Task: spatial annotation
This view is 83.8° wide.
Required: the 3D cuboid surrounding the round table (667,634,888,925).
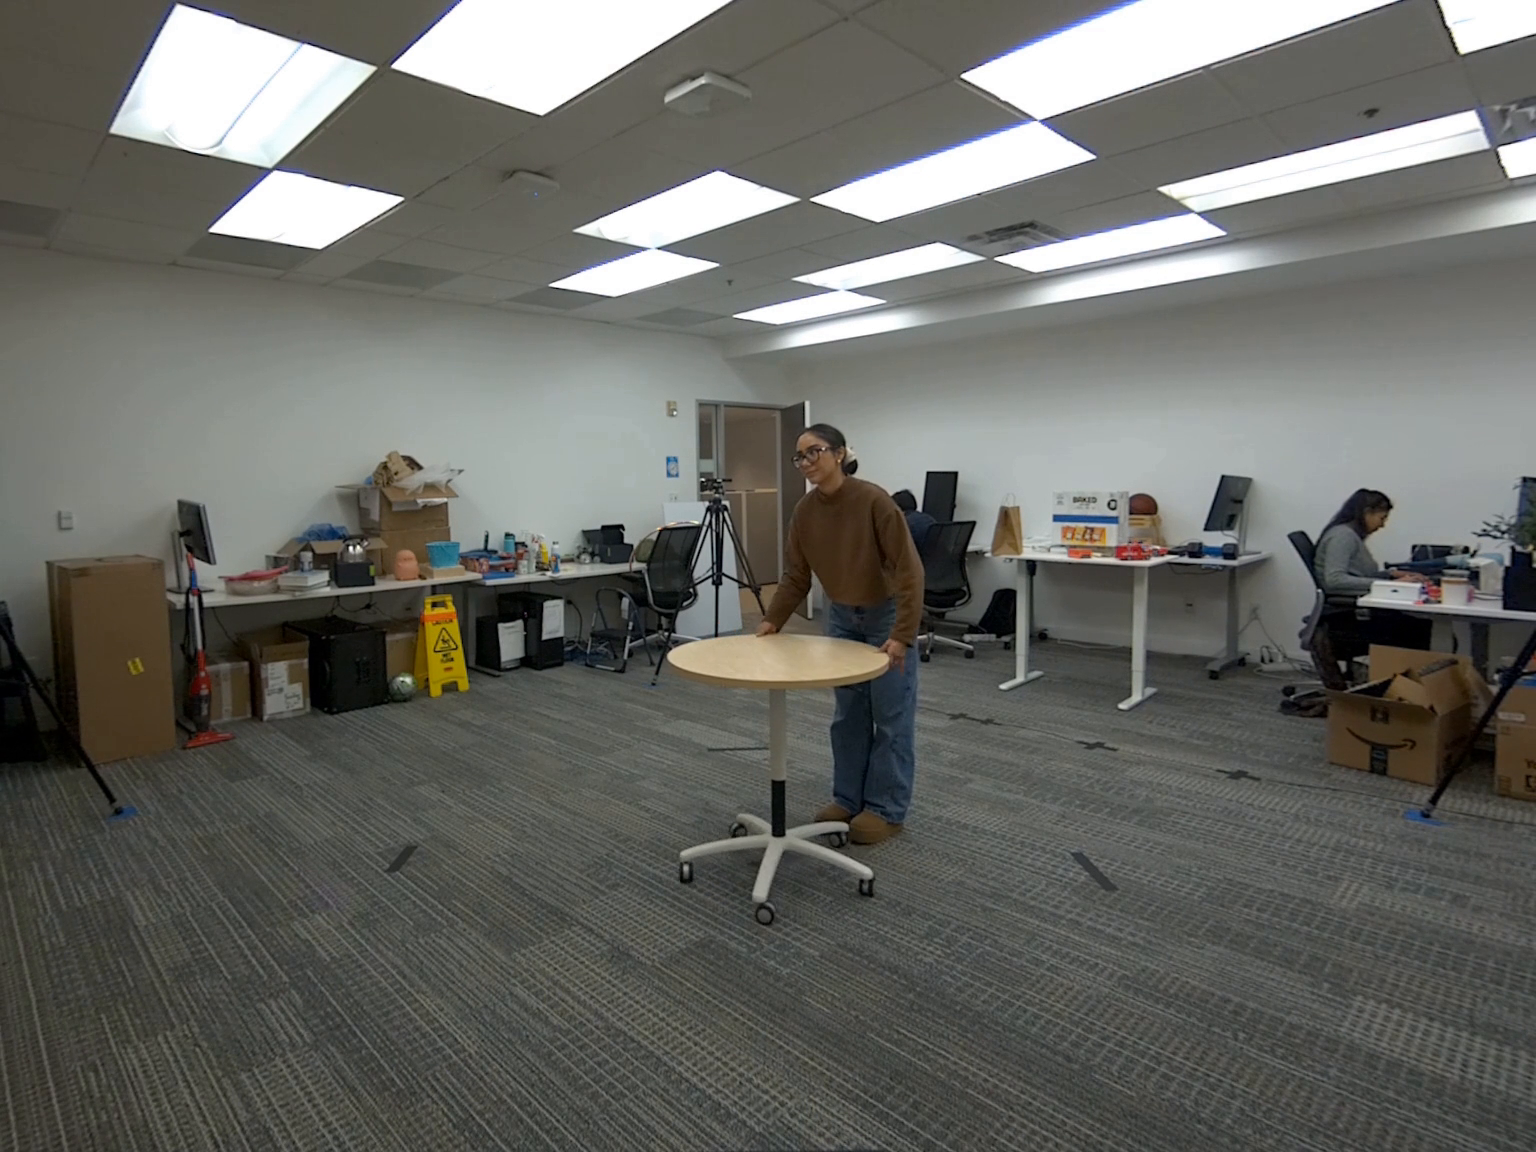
[{"bbox_3d":[0.034,0.666,2.993,0.763,0.791,0.768,-1,5,-2],"label":"round table"}]
